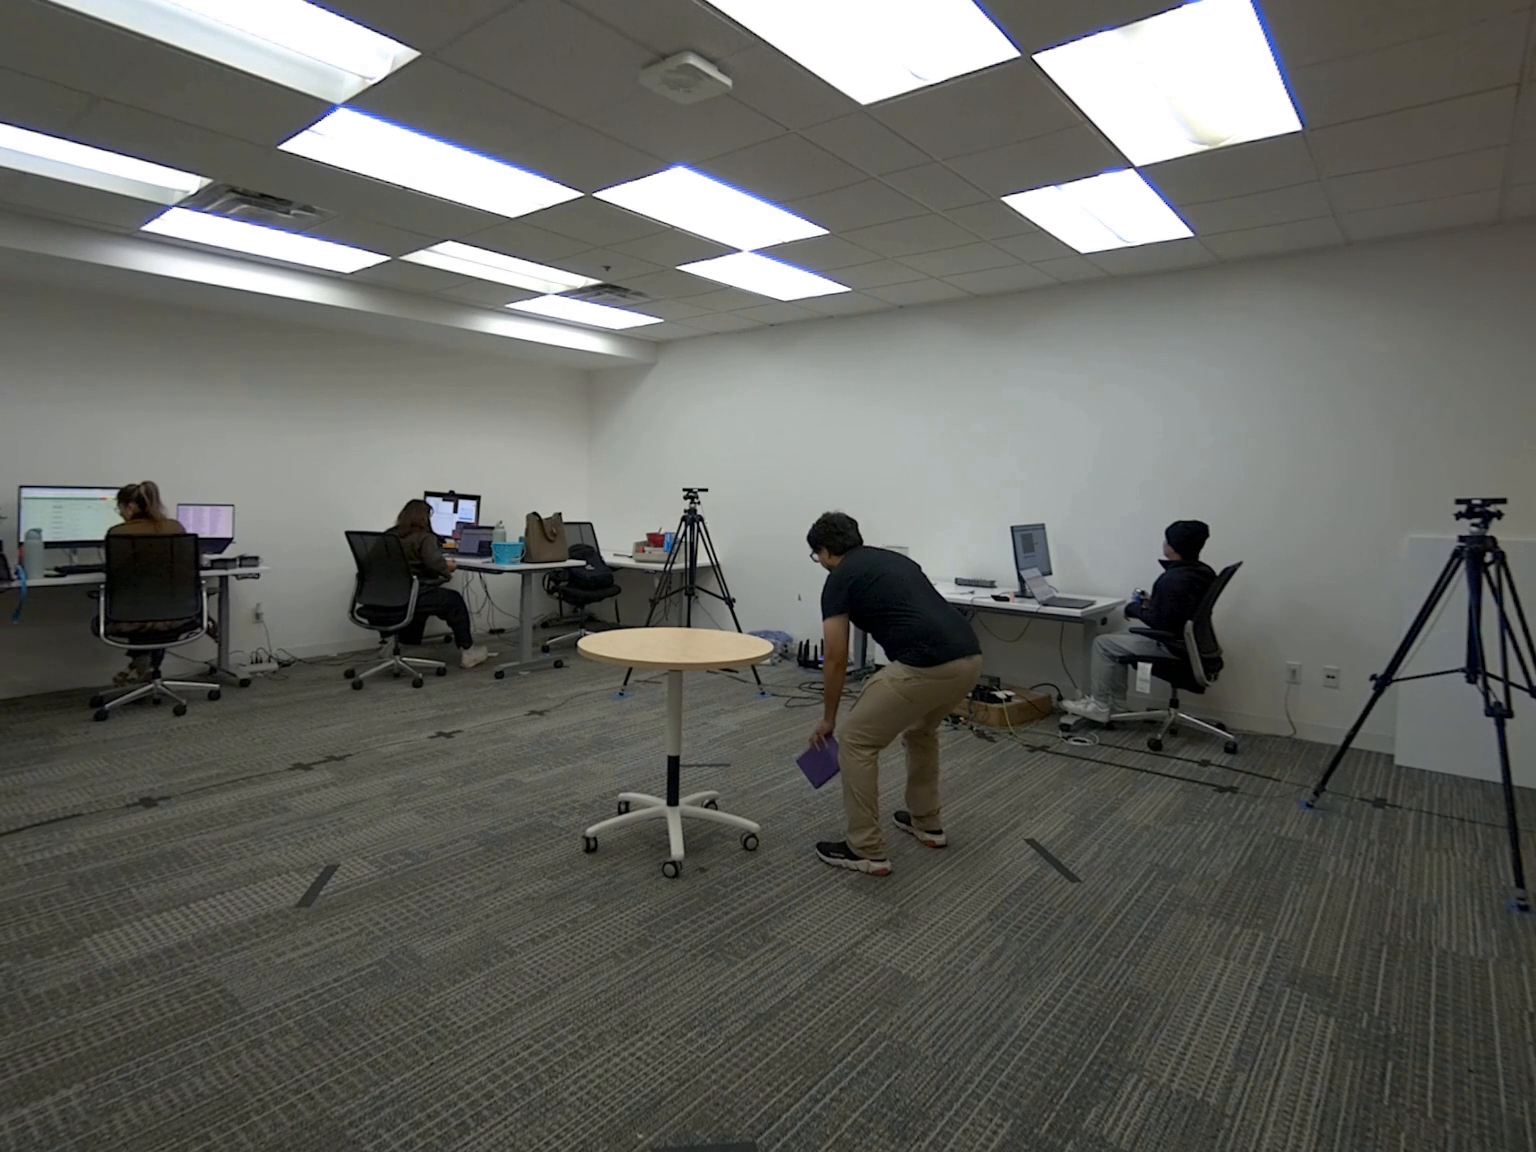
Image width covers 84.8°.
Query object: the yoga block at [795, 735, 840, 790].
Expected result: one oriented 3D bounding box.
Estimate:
[{"bbox_3d":[0.211,0.745,3.470,0.075,0.153,0.229,-16,-26,-44],"label":"yoga block"}]
